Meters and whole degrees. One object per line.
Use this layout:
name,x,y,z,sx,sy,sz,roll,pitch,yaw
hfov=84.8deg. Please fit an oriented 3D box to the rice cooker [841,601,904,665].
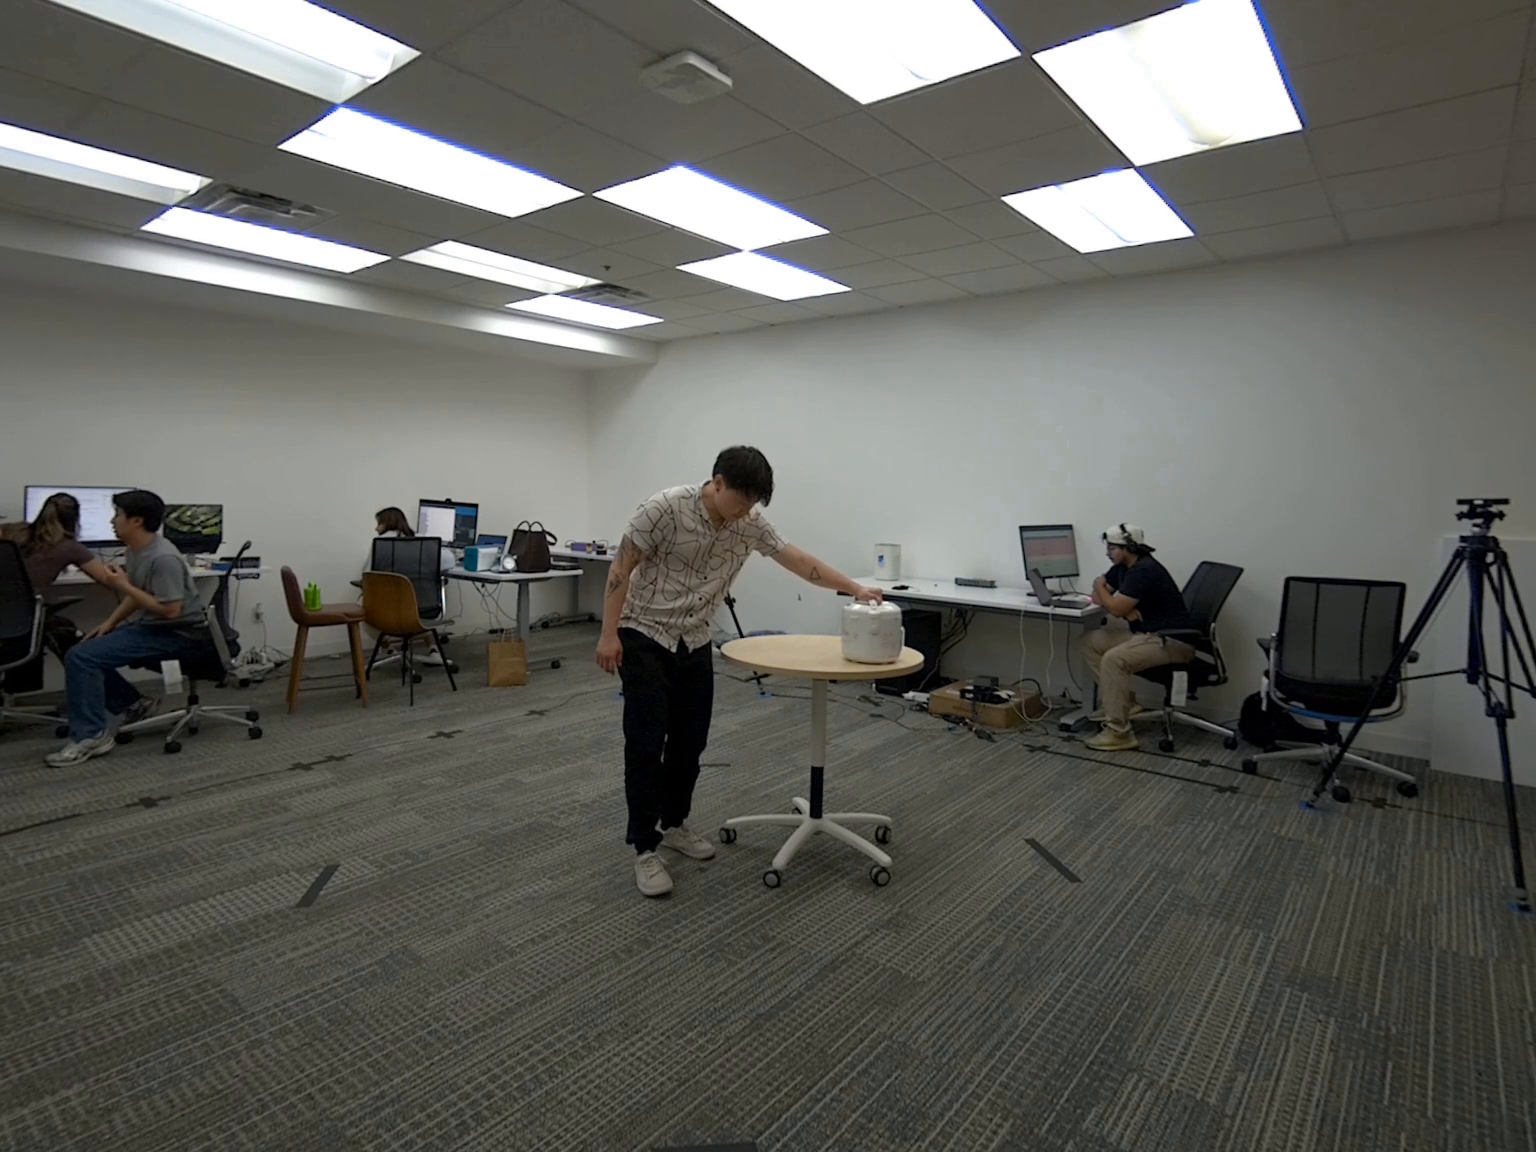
rice cooker,0.367,0.186,3.085,0.219,0.232,0.220,0,4,6
